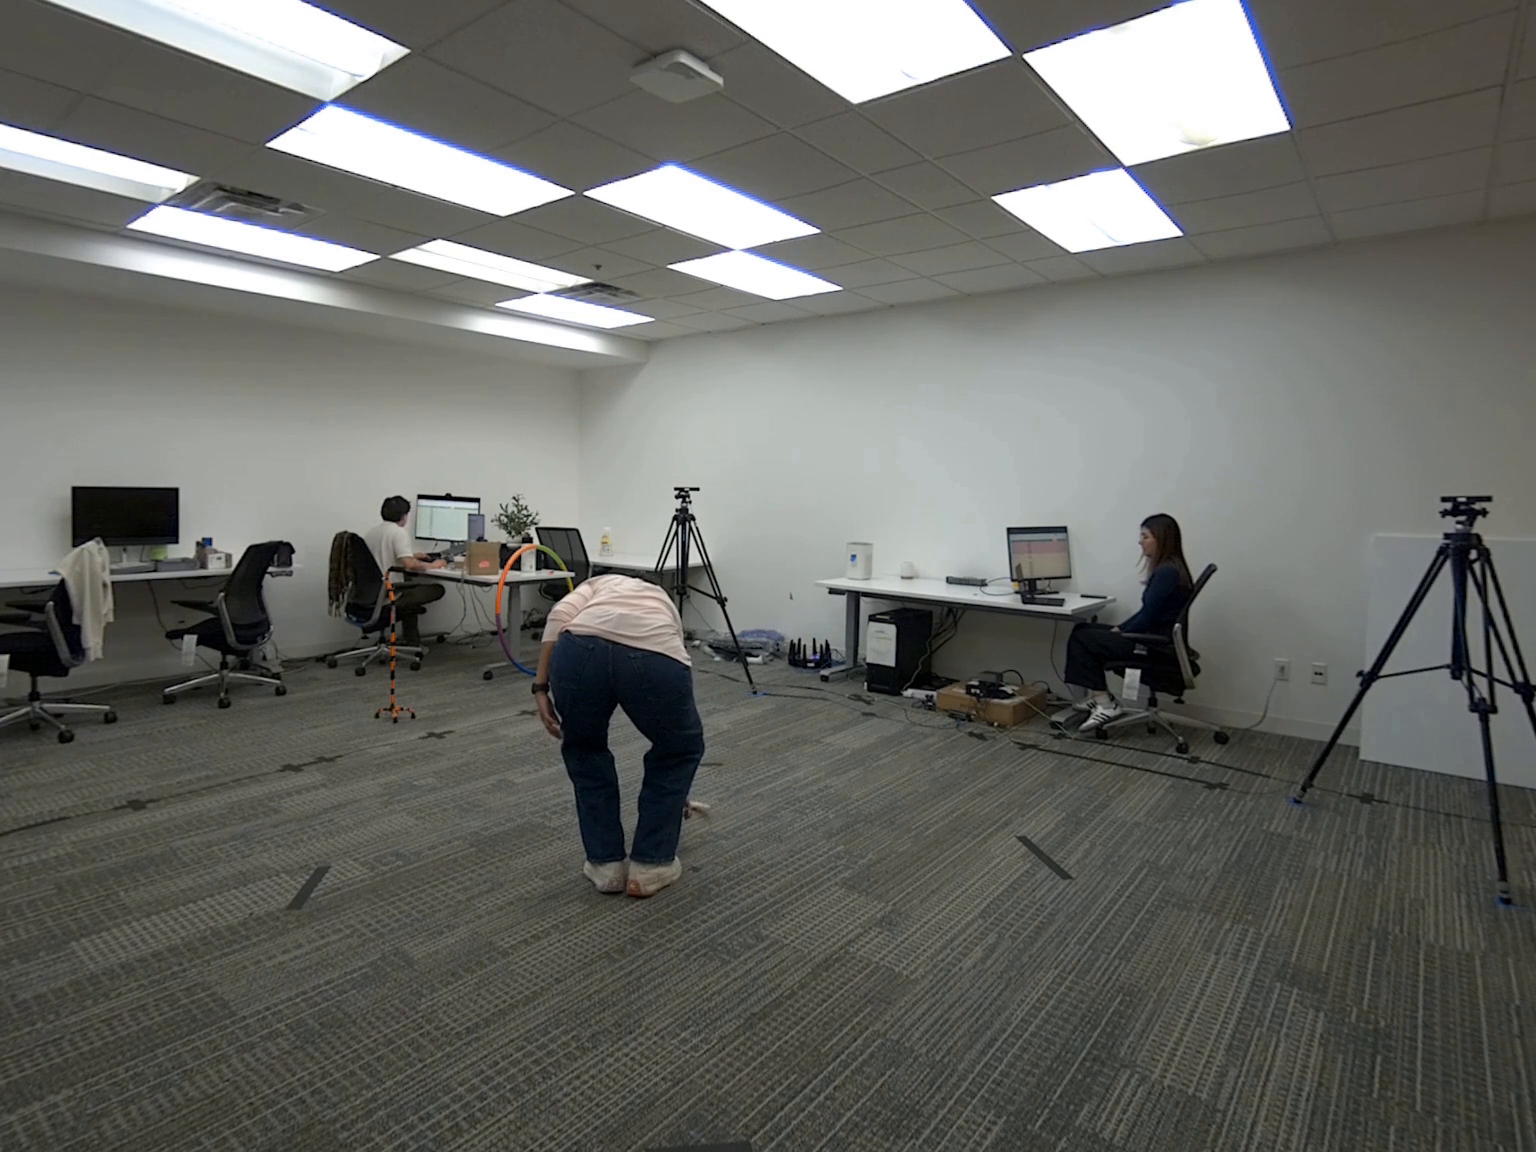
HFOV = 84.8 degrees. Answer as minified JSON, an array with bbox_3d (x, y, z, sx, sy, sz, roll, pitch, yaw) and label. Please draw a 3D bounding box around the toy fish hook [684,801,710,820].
[{"bbox_3d":[-0.335,0.941,3.480,0.221,0.049,0.508,0,-9,-15],"label":"toy fish hook"}]
